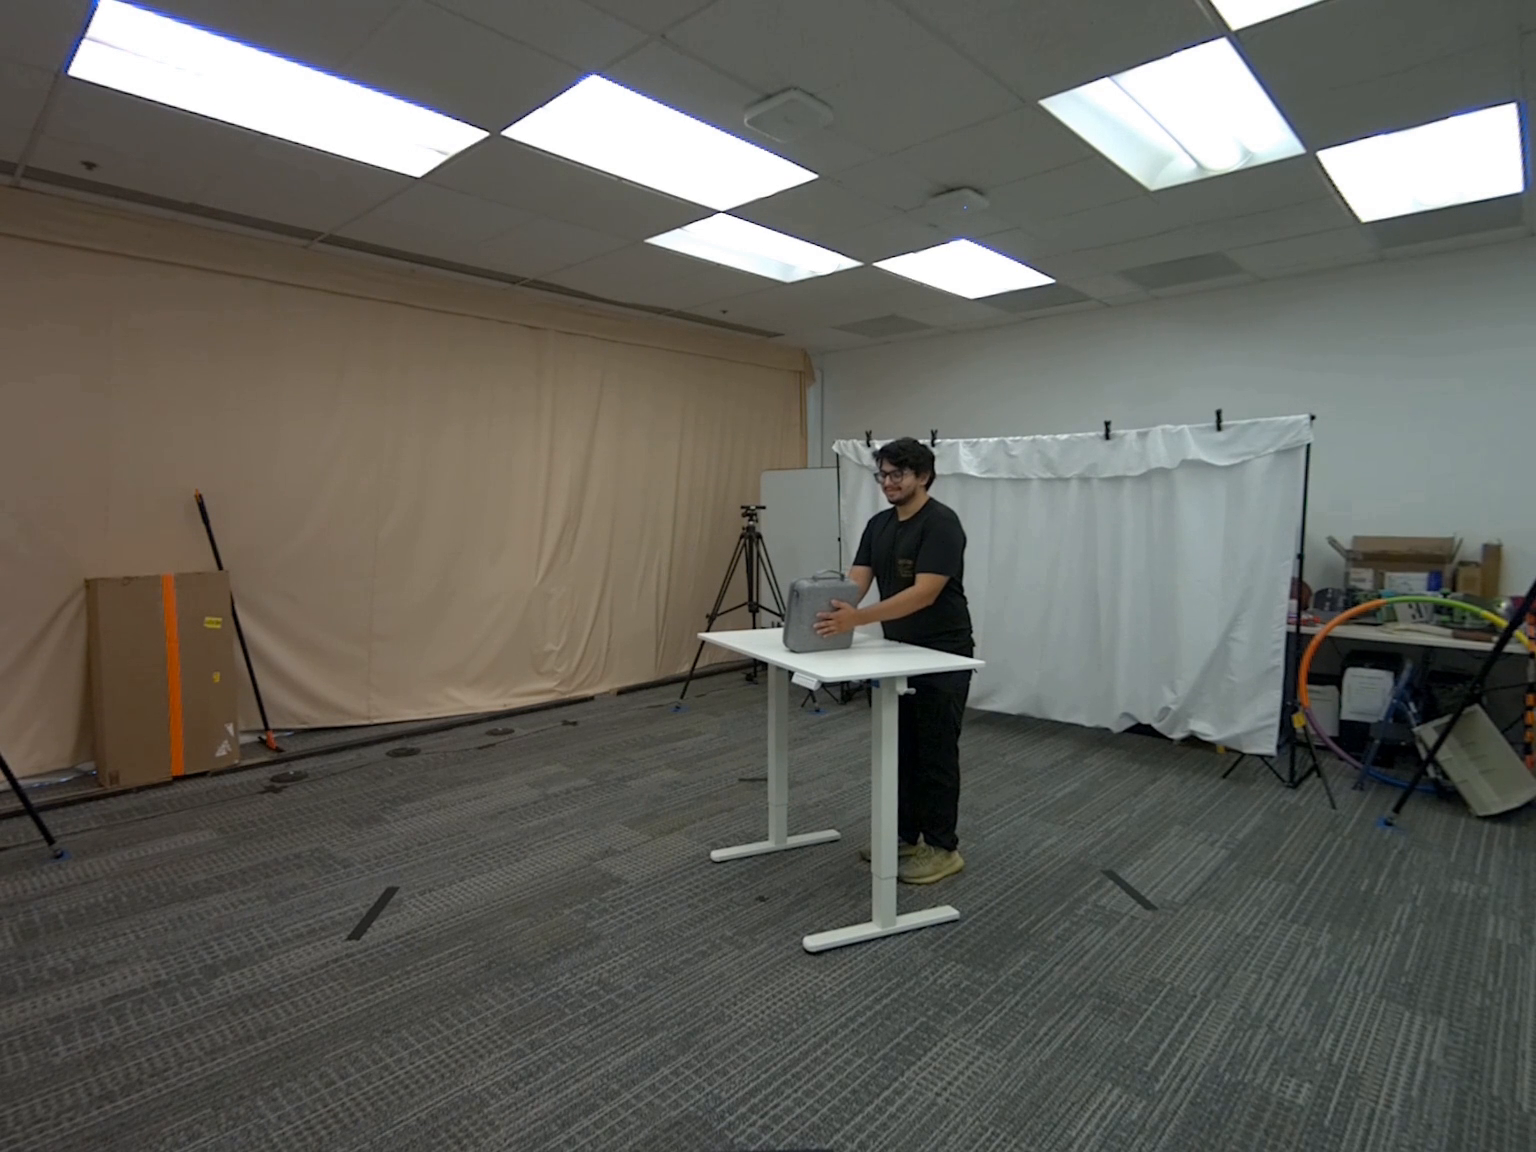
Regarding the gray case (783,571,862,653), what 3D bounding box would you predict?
[{"bbox_3d":[0.193,0.131,2.952,0.251,0.259,0.107,0,12,-25],"label":"gray case"}]
